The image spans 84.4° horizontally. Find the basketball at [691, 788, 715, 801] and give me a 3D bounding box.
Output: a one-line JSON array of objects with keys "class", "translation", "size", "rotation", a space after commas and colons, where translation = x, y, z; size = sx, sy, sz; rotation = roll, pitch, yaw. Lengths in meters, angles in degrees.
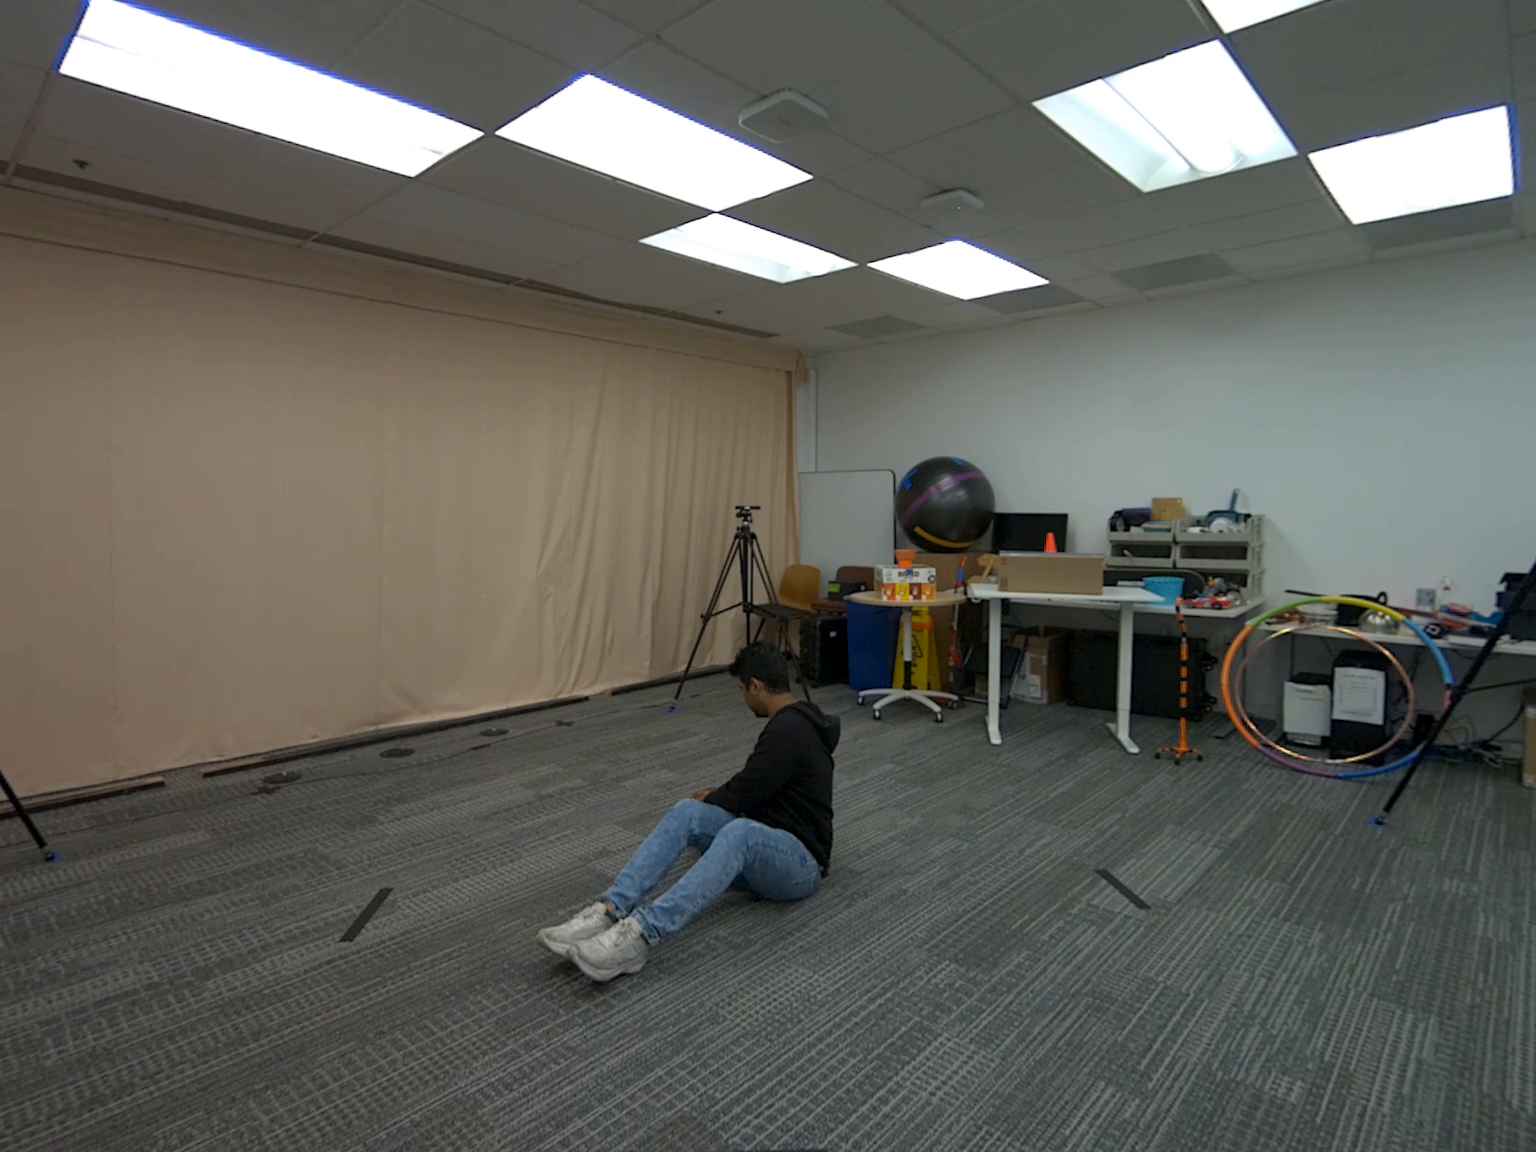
[{"class": "basketball", "translation": [-0.227, 0.992, 3.440], "size": [0.236, 0.235, 0.237], "rotation": [0, 4, -2]}]
